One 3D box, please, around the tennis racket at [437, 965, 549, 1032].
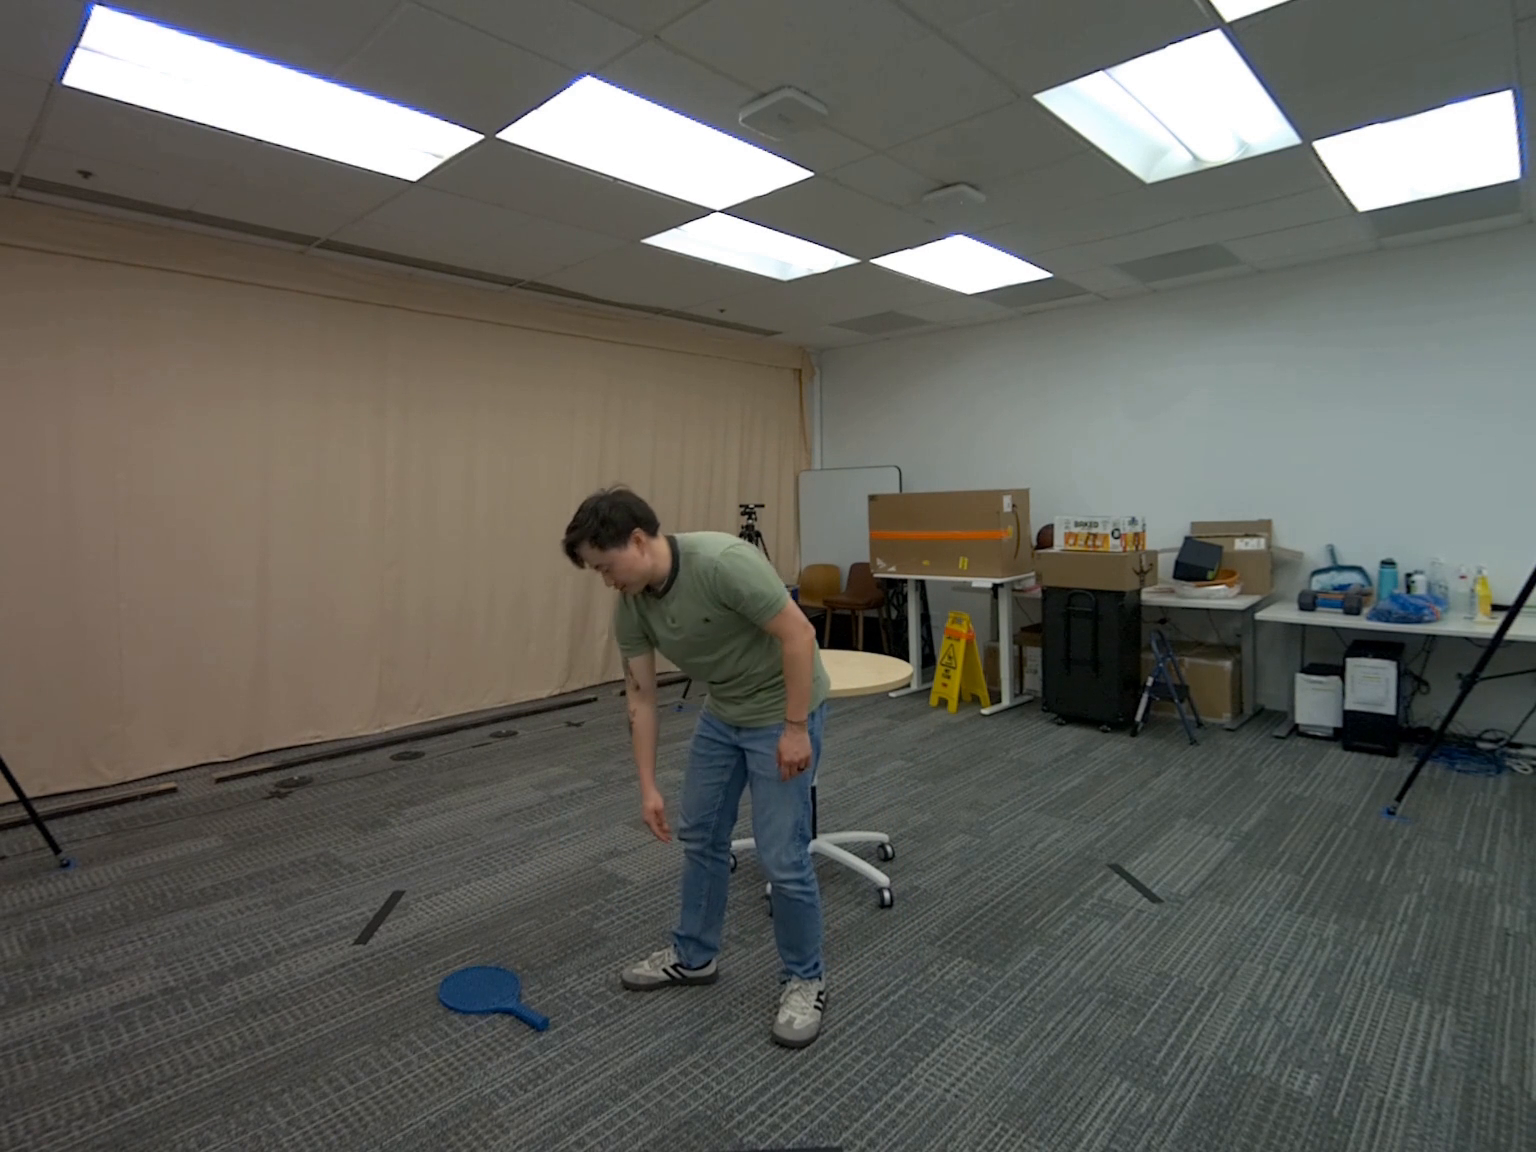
[{"bbox_3d":[-0.772,1.196,2.381,0.447,0.032,0.207,0,4,40],"label":"tennis racket"}]
